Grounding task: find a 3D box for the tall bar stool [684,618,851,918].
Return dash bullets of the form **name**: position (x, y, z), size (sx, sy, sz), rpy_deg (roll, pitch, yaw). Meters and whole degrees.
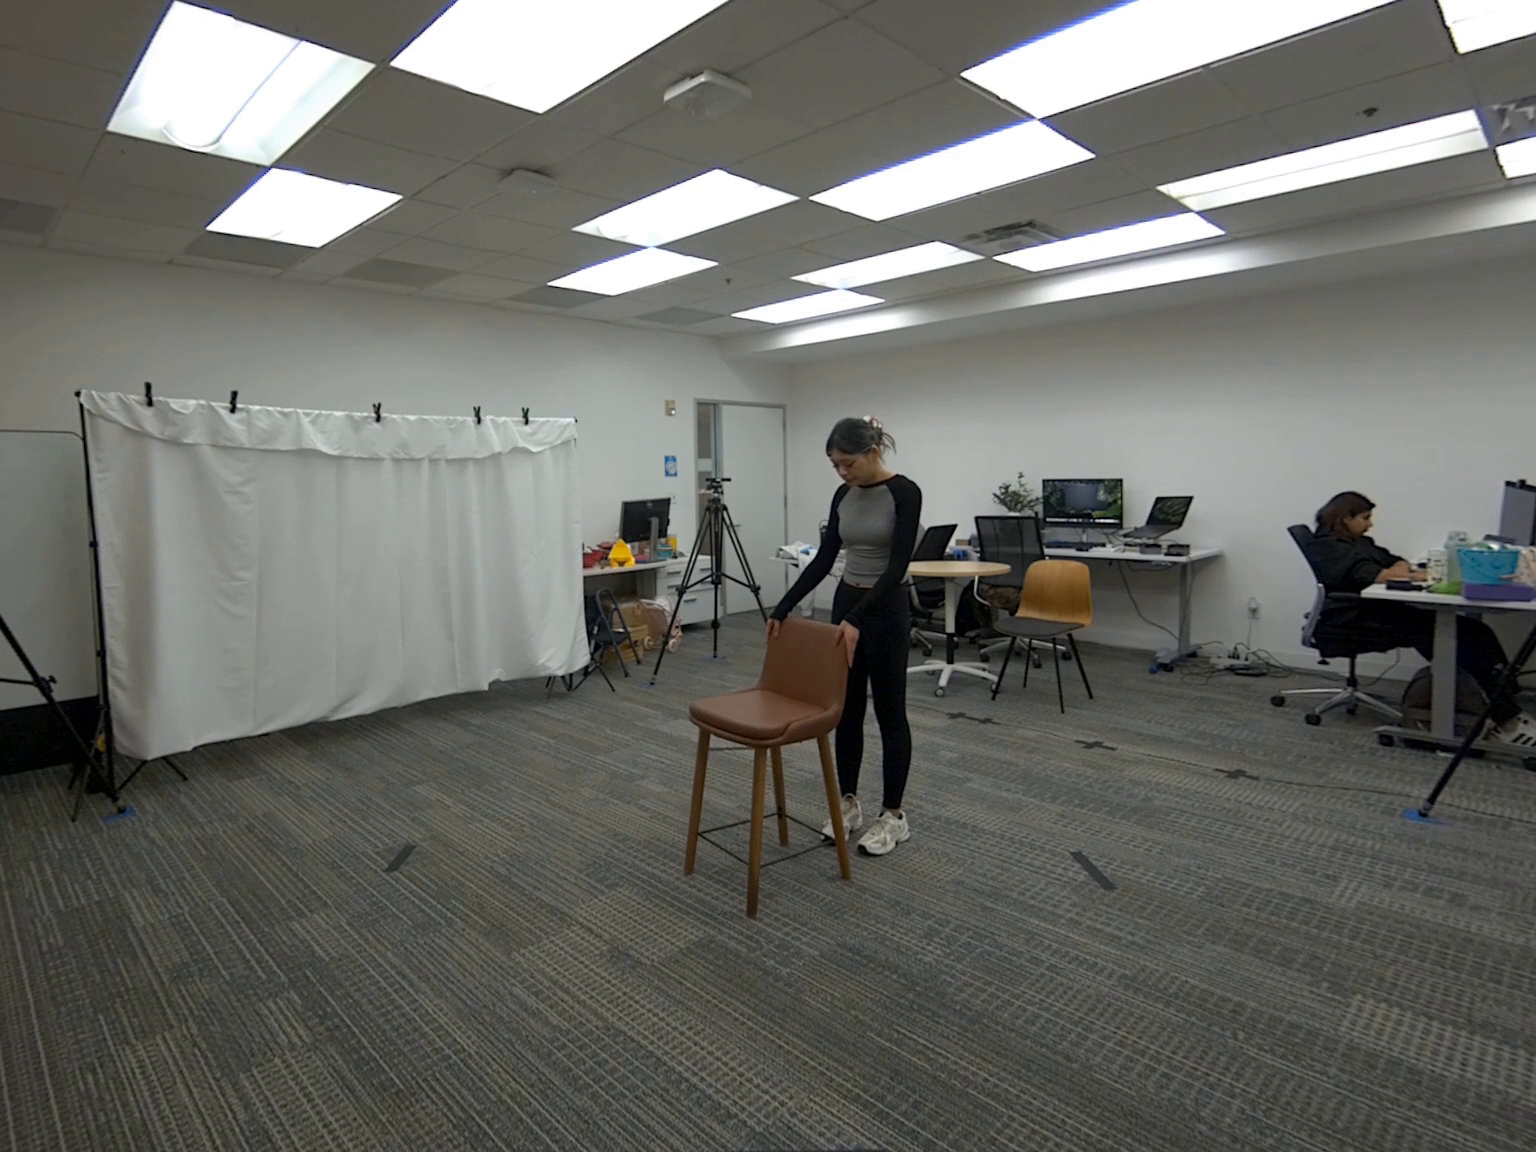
- **tall bar stool**: position (0.006, 0.617, 2.974), size (0.455, 0.888, 0.470), rpy_deg (-1, 3, -36)
